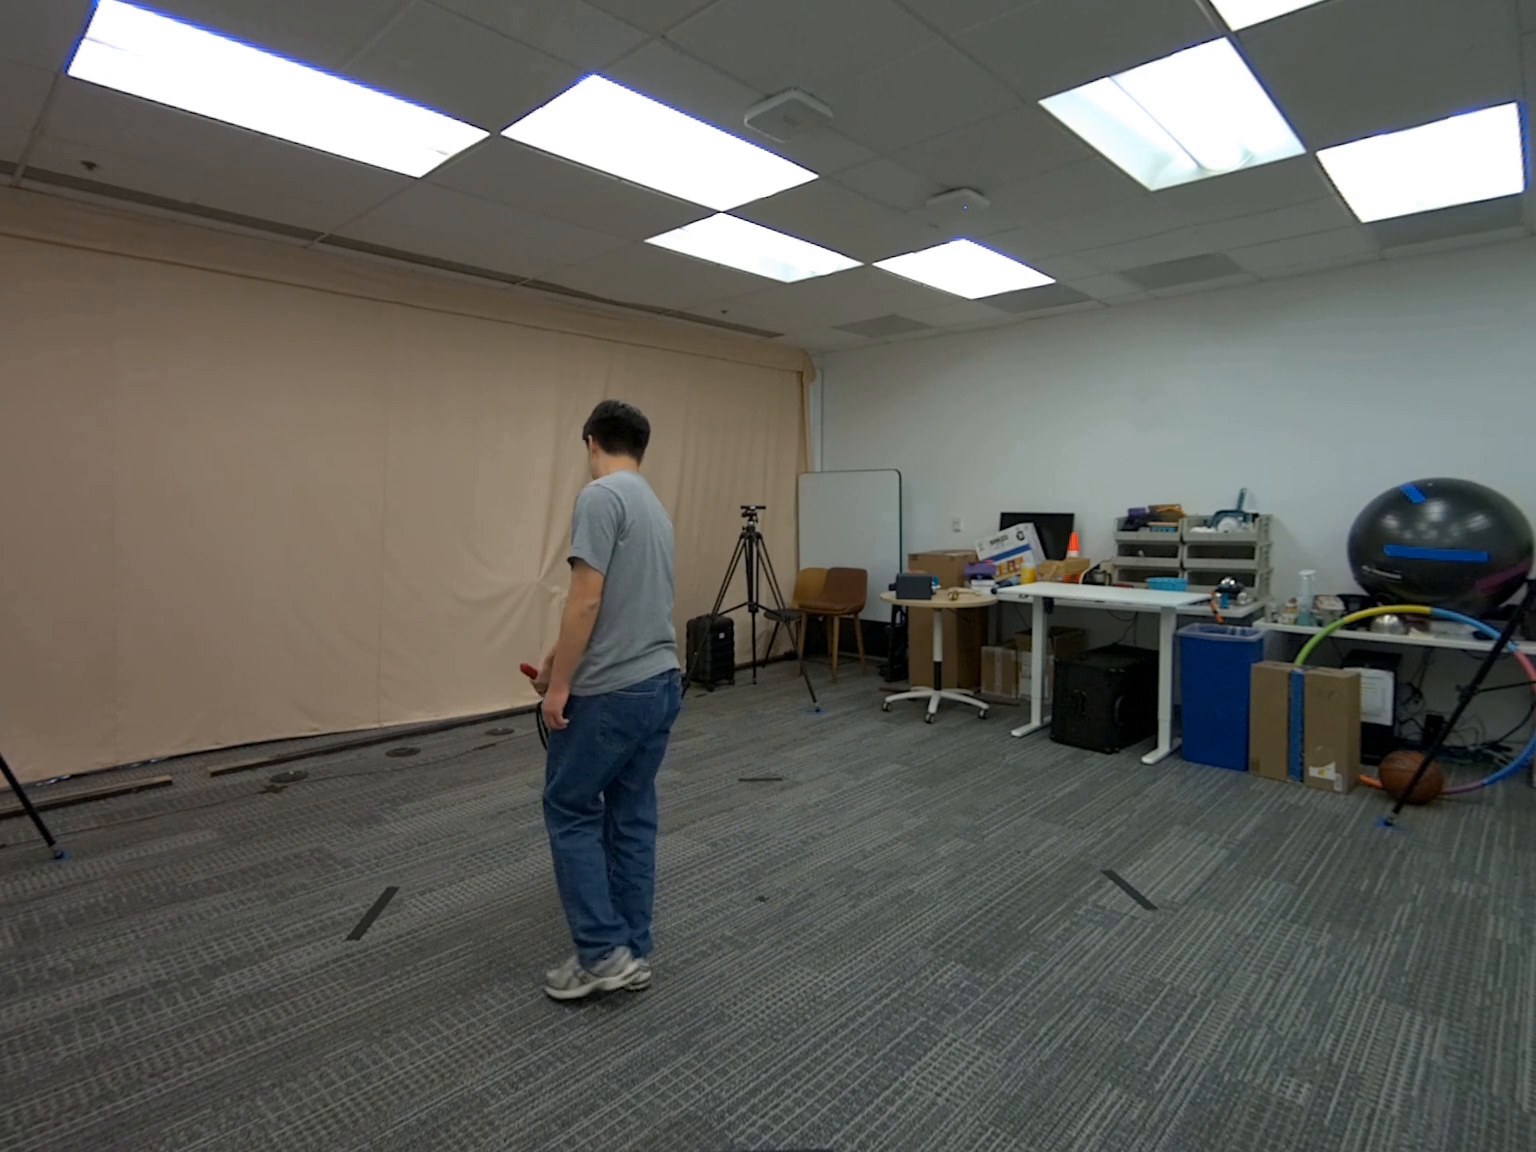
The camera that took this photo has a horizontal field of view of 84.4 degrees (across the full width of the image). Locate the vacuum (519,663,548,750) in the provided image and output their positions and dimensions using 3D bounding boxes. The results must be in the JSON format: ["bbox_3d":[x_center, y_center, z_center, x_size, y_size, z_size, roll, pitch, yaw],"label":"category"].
[{"bbox_3d":[-0.674,0.713,2.960,0.257,1.024,0.145,-1,36,17],"label":"vacuum"}]
